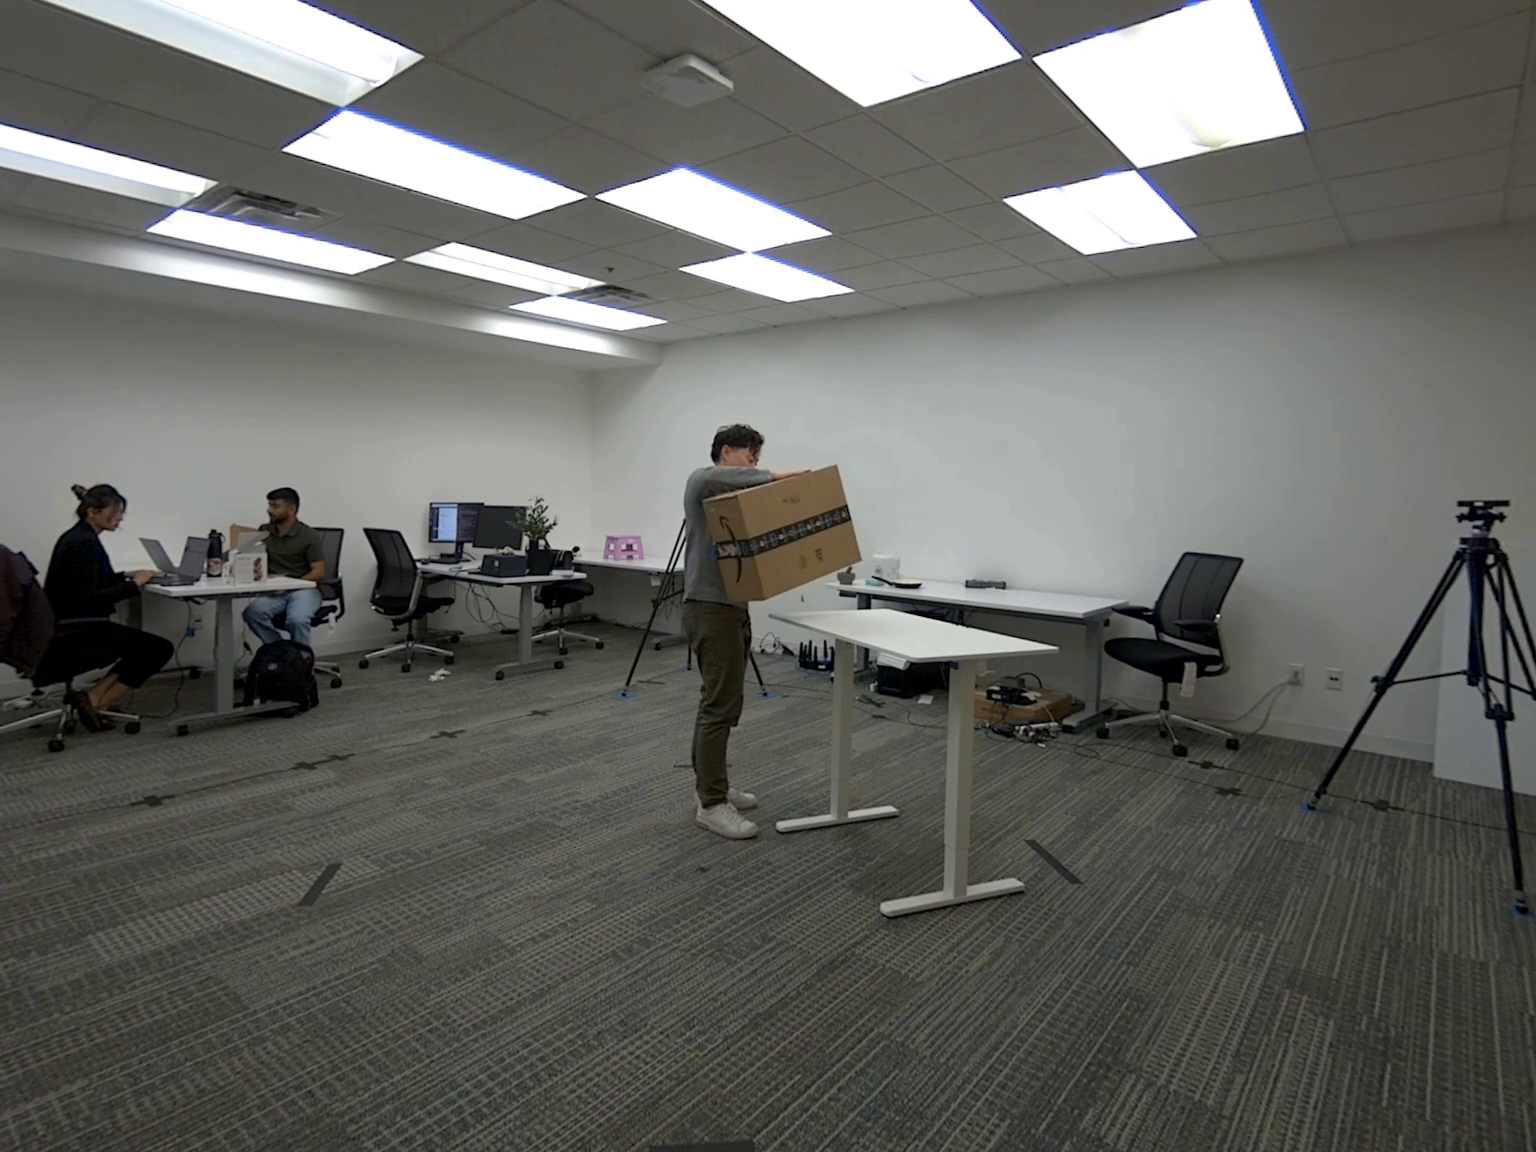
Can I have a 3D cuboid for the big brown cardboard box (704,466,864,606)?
[{"bbox_3d":[0.053,-0.168,3.406,0.577,0.415,0.239,-19,7,-37],"label":"big brown cardboard box"}]
